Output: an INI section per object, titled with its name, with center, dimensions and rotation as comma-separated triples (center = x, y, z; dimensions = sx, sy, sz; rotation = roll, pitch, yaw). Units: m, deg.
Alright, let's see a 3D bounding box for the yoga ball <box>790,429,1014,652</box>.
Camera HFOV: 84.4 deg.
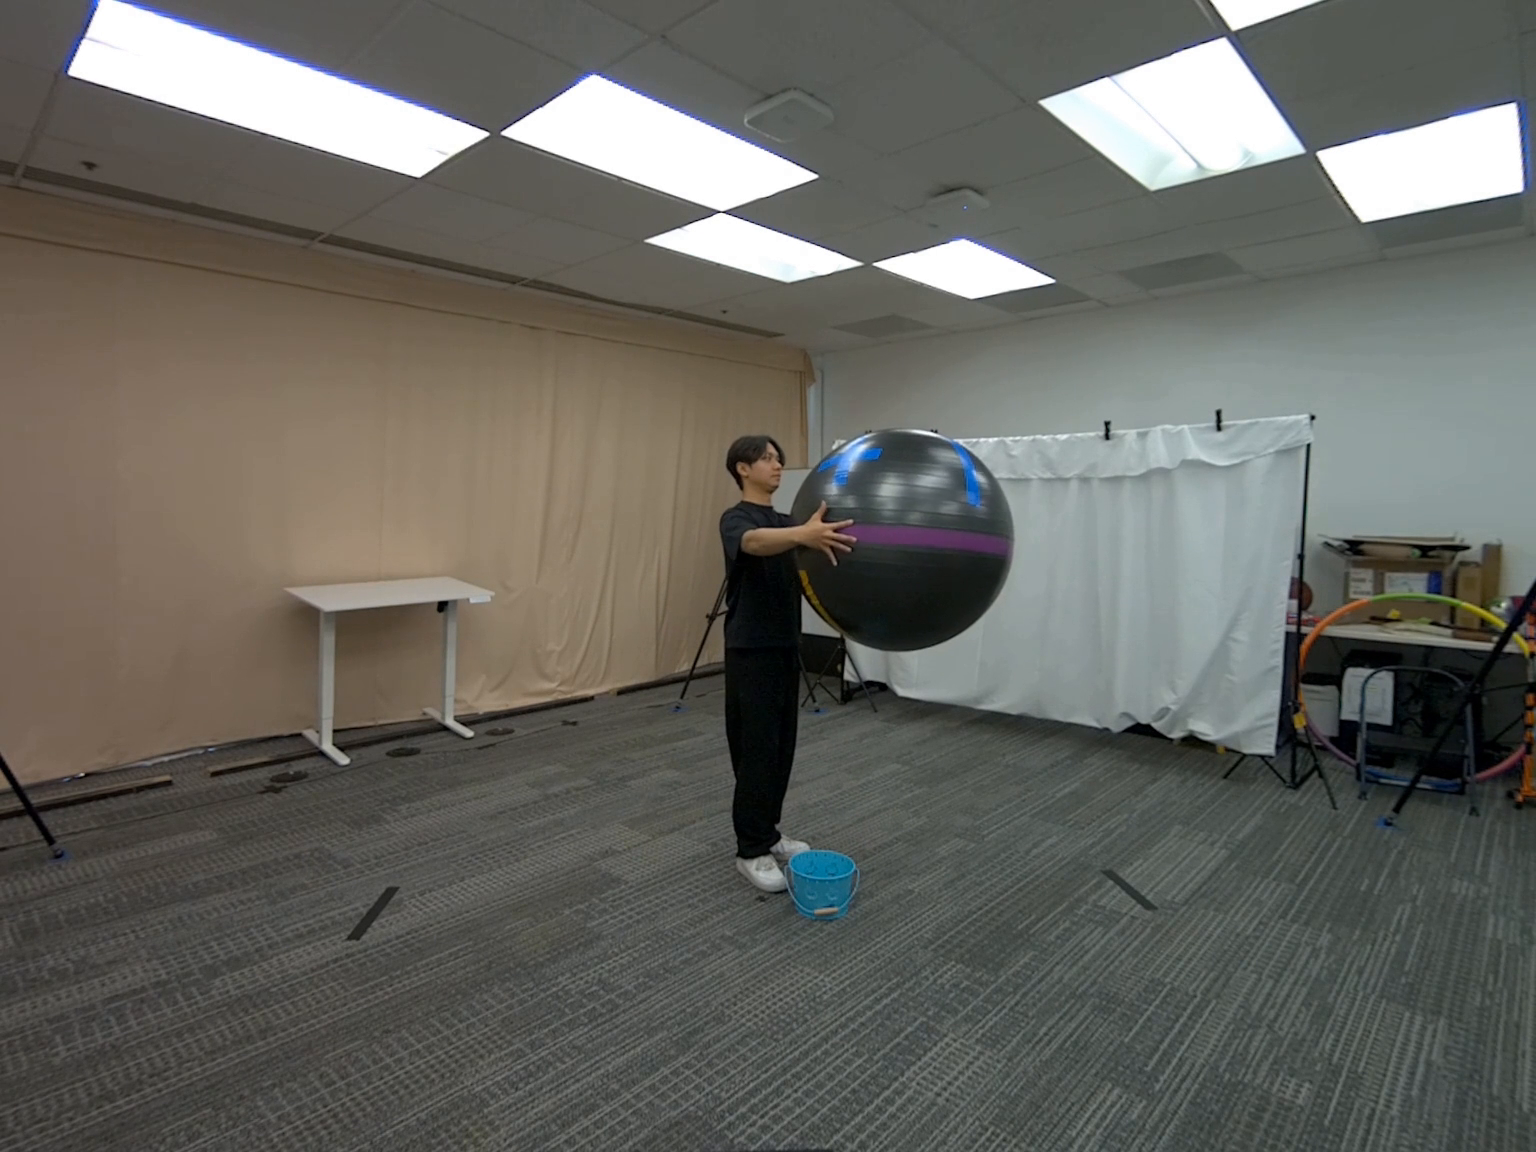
[yoga ball]
center = 0.459, -0.121, 2.916
dimensions = 0.757, 0.756, 0.761
rotation = 0, 4, -2
